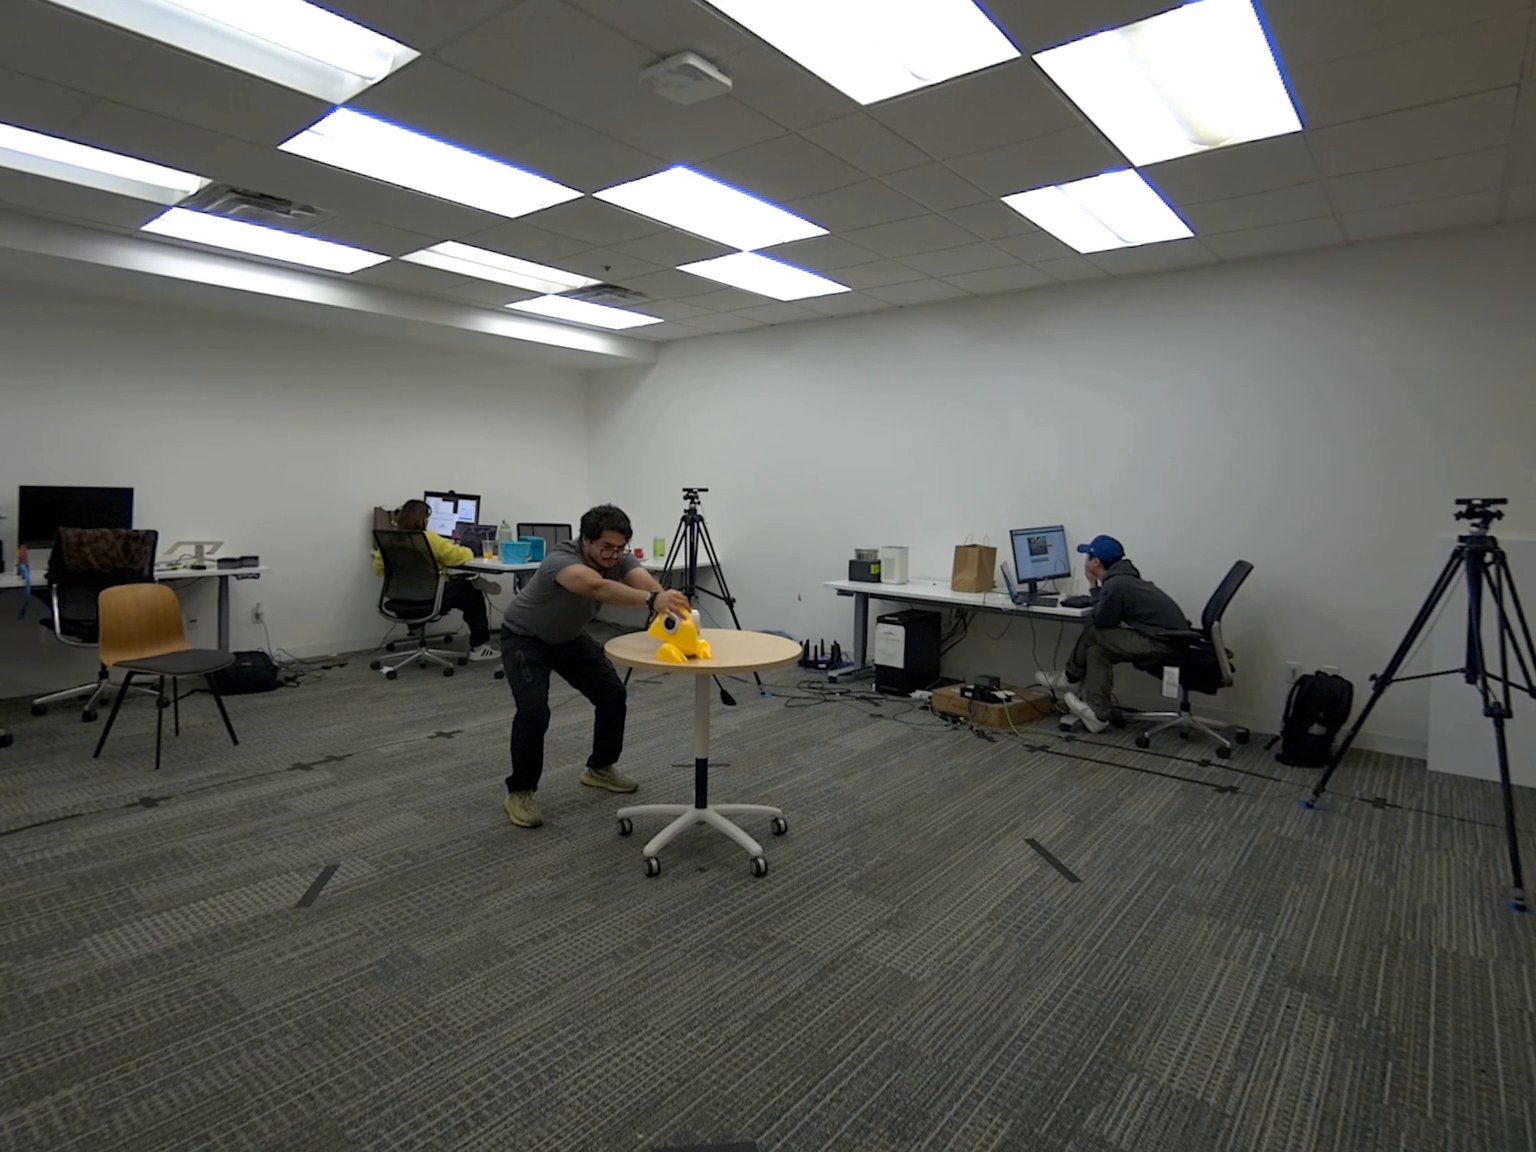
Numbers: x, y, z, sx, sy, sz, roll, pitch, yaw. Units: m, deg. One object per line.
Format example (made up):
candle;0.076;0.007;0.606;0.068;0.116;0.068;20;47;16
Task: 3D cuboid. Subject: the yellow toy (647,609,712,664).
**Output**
yellow toy;-0.320;0.181;3.097;0.199;0.230;0.199;-2;4;-36
